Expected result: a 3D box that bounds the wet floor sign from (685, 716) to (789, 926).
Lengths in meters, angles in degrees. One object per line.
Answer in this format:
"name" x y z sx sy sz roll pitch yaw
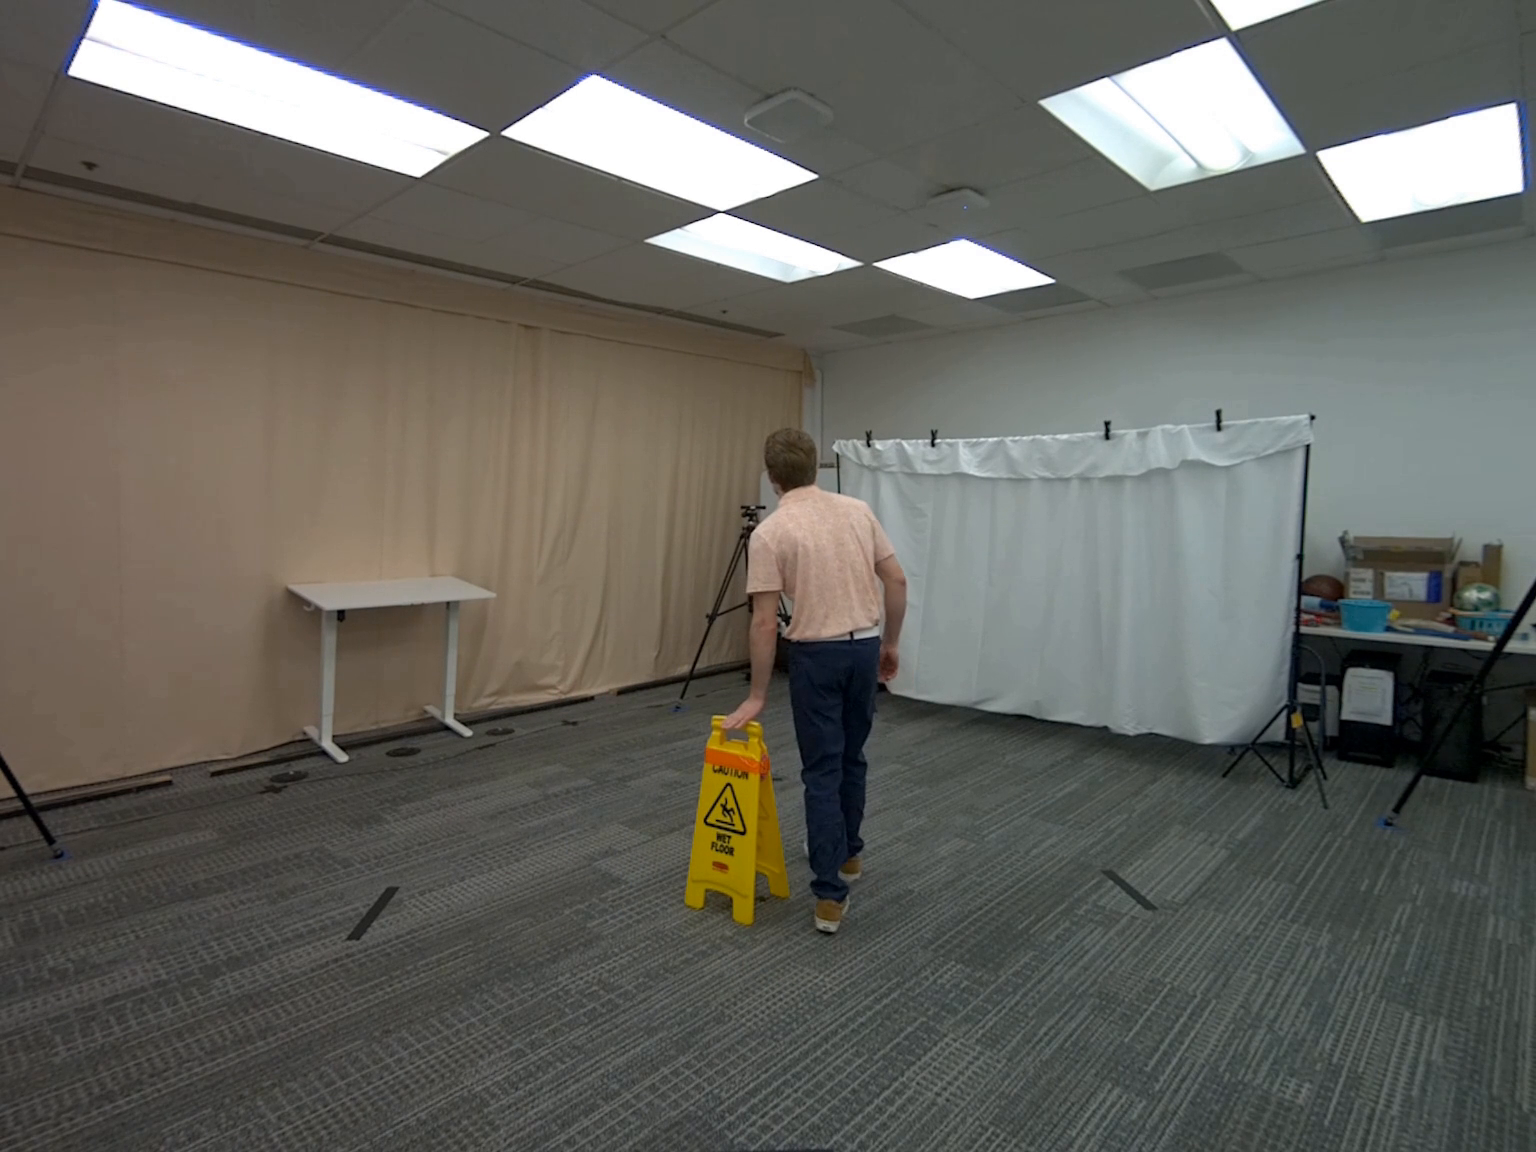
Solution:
"wet floor sign" -0.104 0.825 2.962 0.291 0.645 0.281 3 4 33
